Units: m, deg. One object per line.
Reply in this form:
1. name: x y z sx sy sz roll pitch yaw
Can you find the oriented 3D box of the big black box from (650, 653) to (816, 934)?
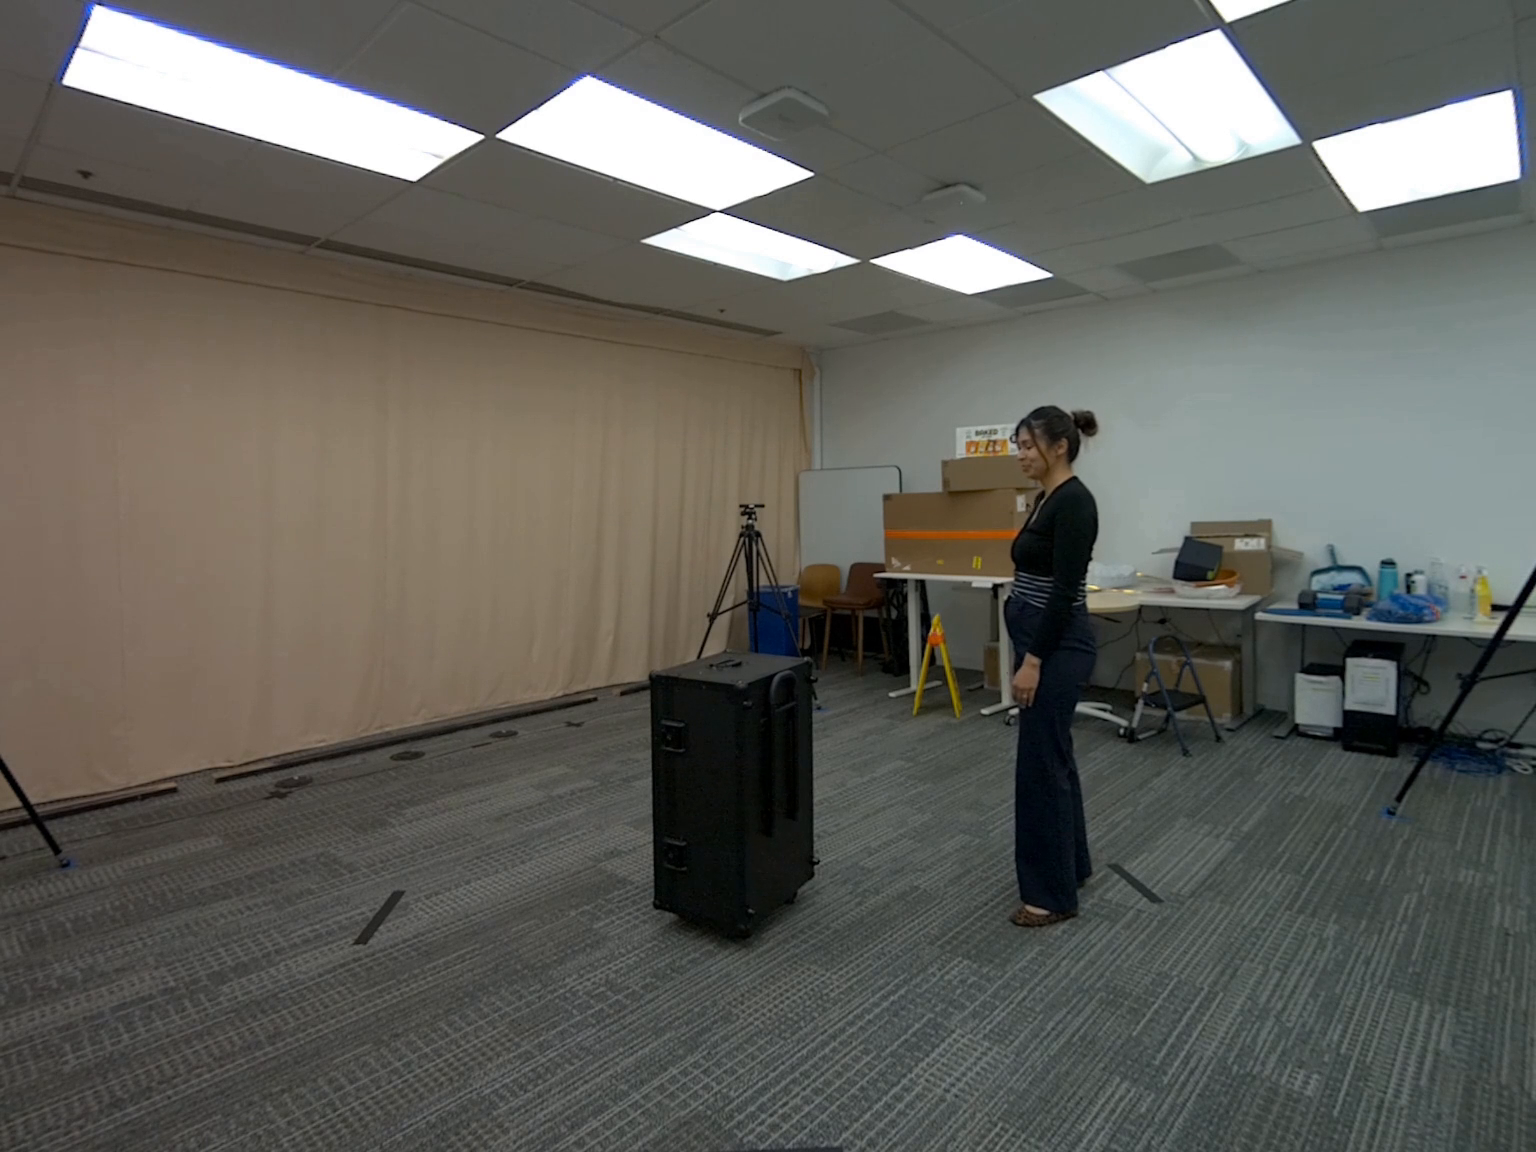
1. big black box: -0.095 0.732 2.859 0.408 0.859 0.507 3 5 31
